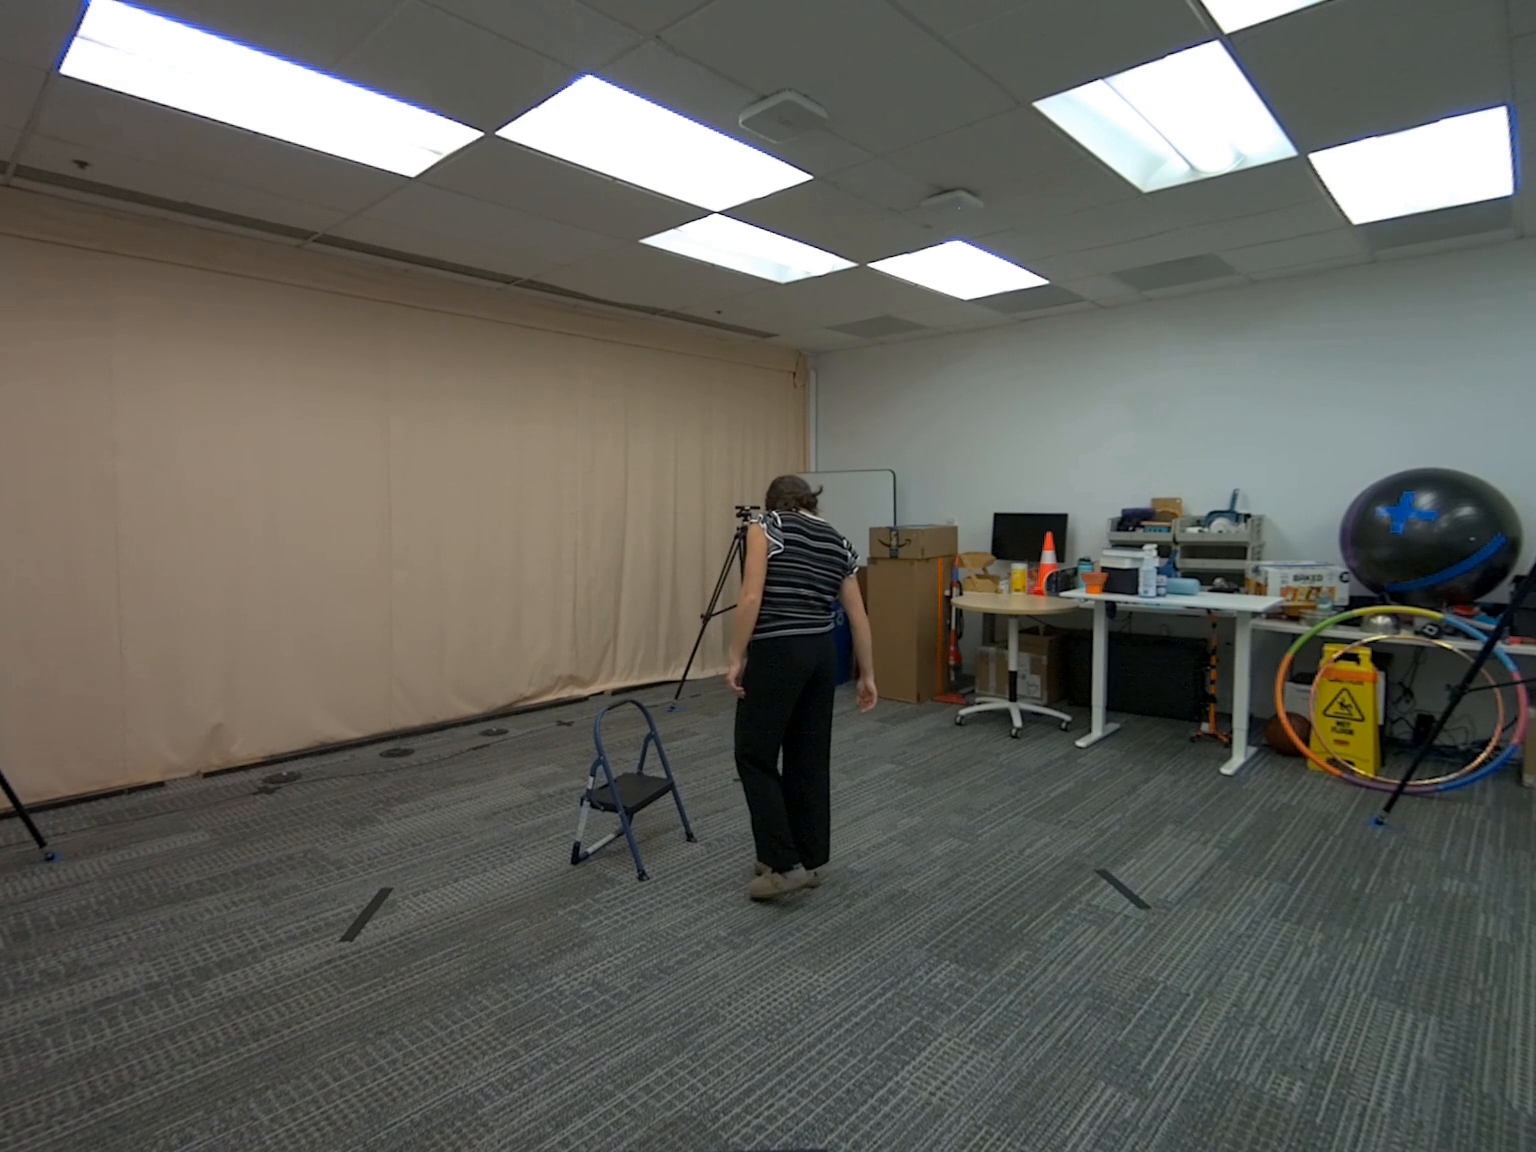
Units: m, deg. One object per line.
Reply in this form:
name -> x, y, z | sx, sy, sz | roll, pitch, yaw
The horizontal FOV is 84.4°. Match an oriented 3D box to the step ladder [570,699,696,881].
step ladder -> -0.538, 0.815, 3.384 | 0.358, 0.605, 0.421 | 1, 3, 23
